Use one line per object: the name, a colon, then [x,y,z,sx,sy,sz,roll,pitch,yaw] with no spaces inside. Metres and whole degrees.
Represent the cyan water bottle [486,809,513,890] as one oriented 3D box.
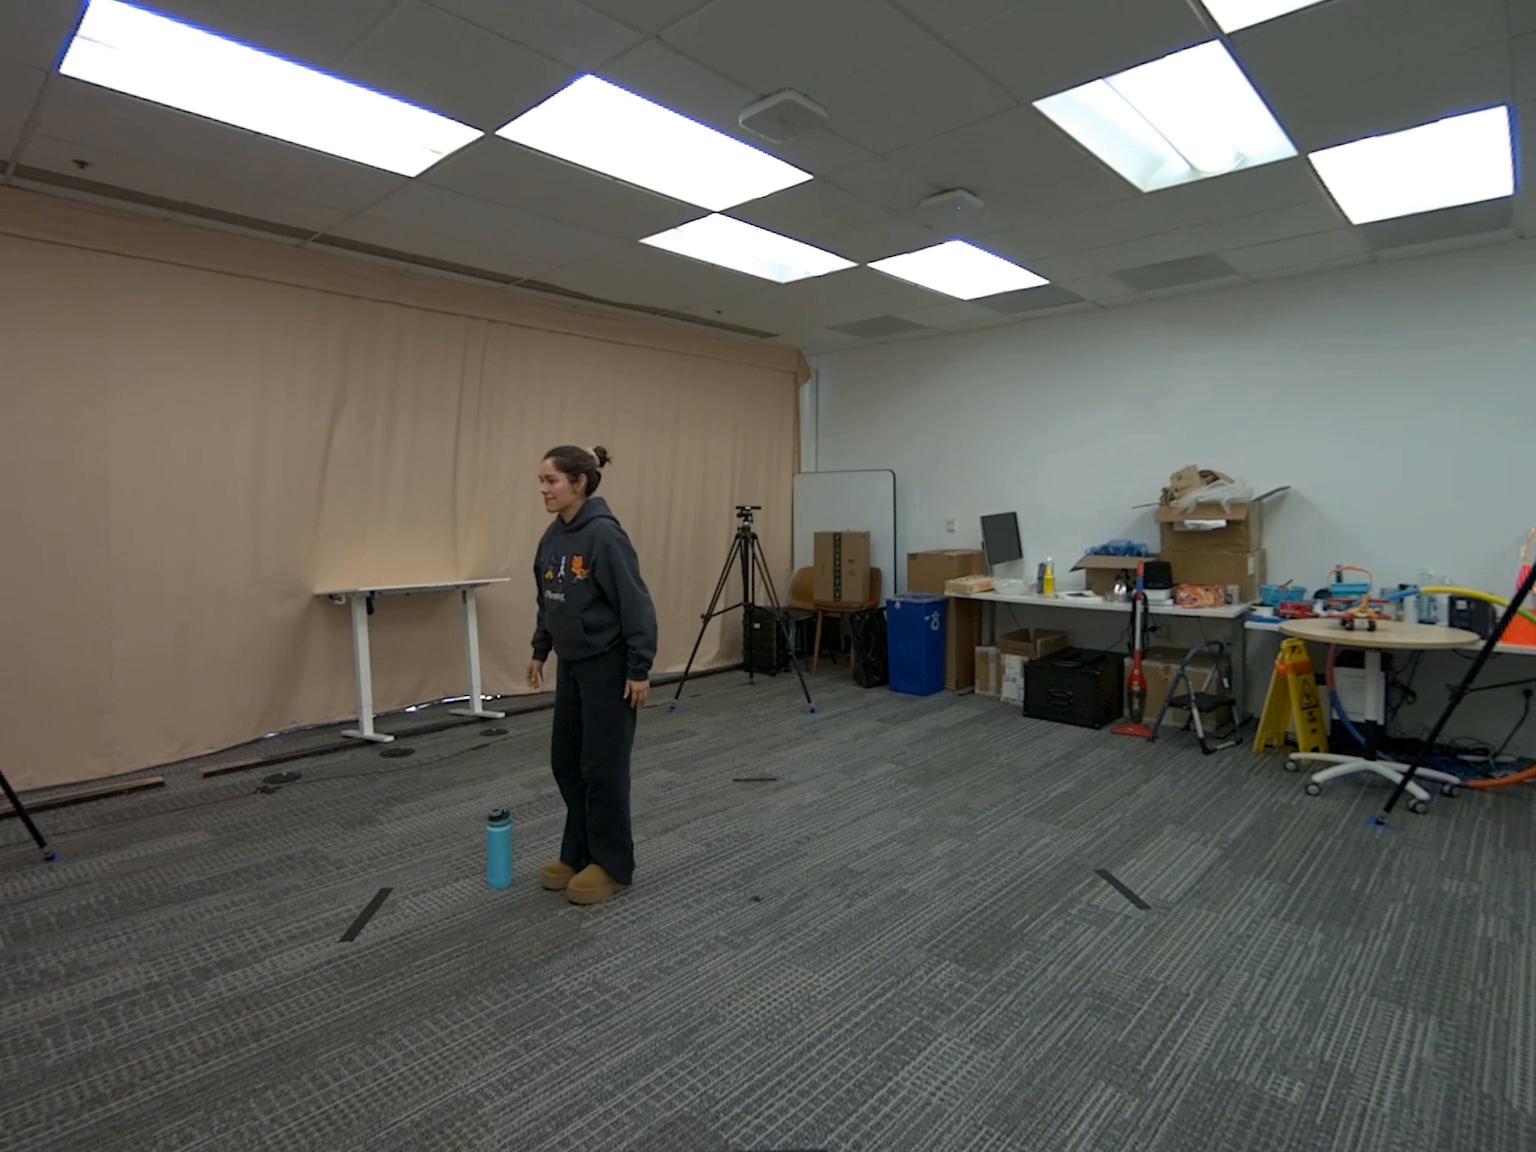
cyan water bottle: [-0.979,1.013,3.125,0.092,0.283,0.092,0,-1,-2]
